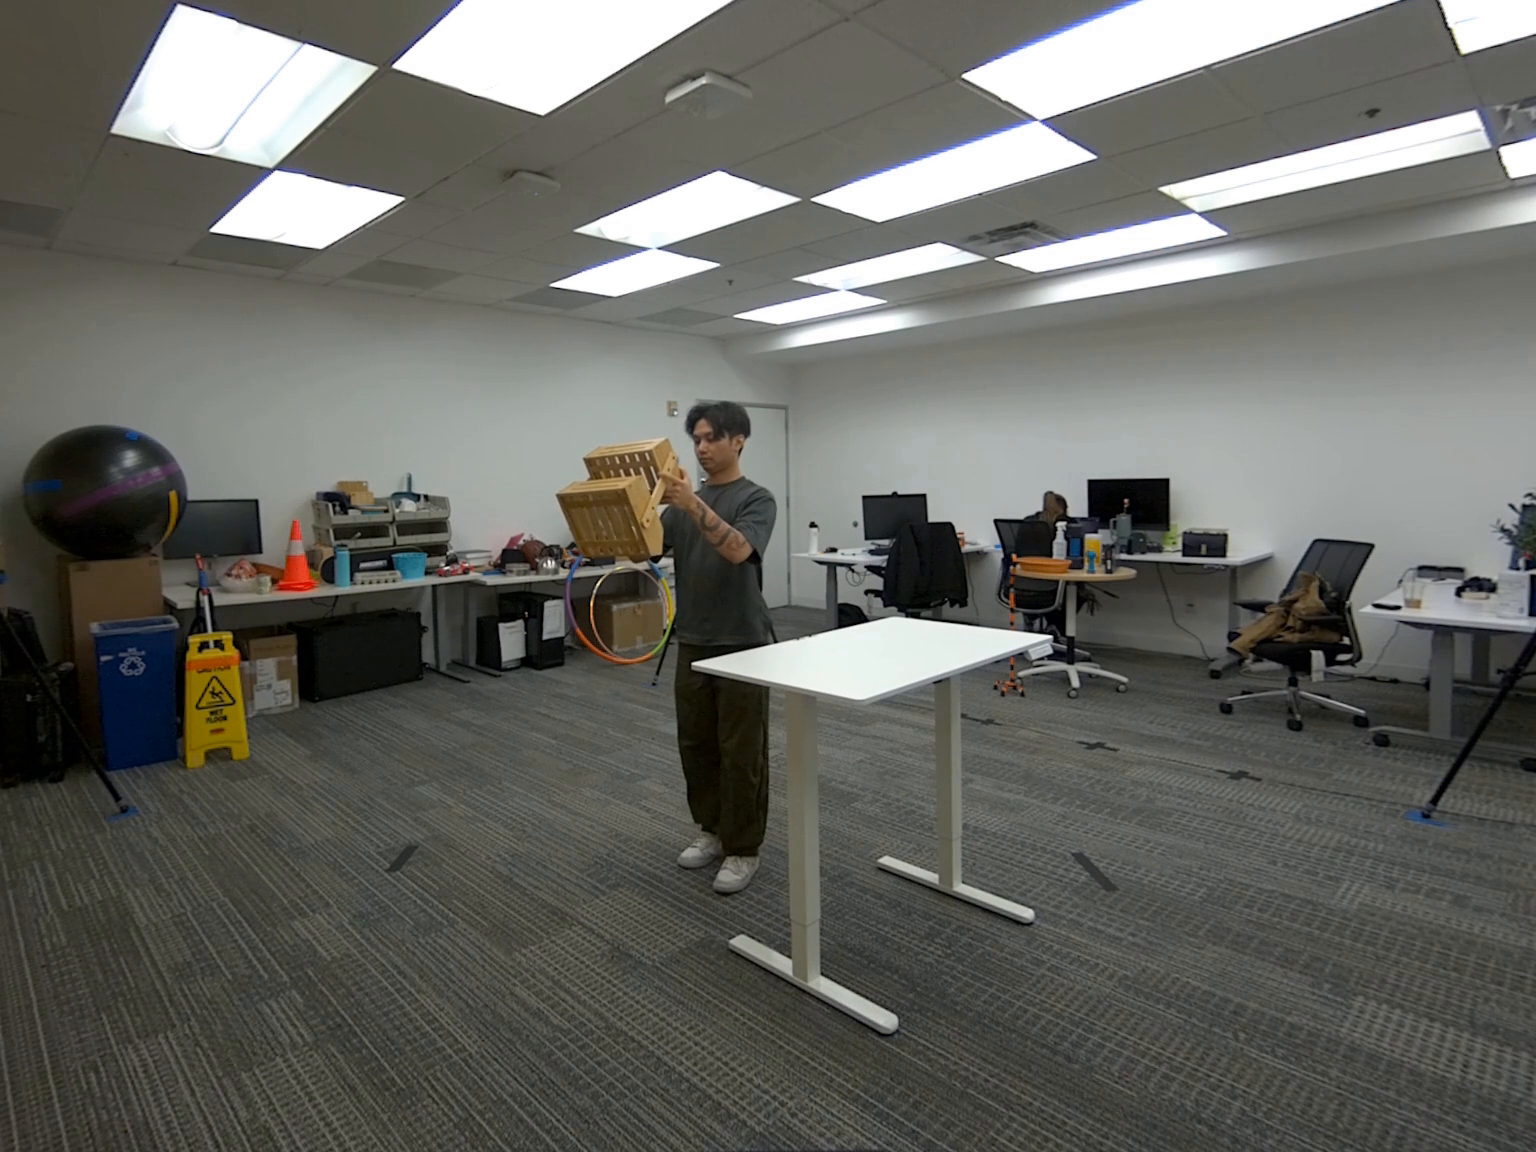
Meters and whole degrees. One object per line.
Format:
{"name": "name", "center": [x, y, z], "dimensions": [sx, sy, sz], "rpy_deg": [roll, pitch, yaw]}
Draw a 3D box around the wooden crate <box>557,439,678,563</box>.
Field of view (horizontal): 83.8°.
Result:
{"name": "wooden crate", "center": [-0.451, -0.240, 2.739], "dimensions": [0.333, 0.295, 0.273], "rpy_deg": [-1, 29, 35]}
